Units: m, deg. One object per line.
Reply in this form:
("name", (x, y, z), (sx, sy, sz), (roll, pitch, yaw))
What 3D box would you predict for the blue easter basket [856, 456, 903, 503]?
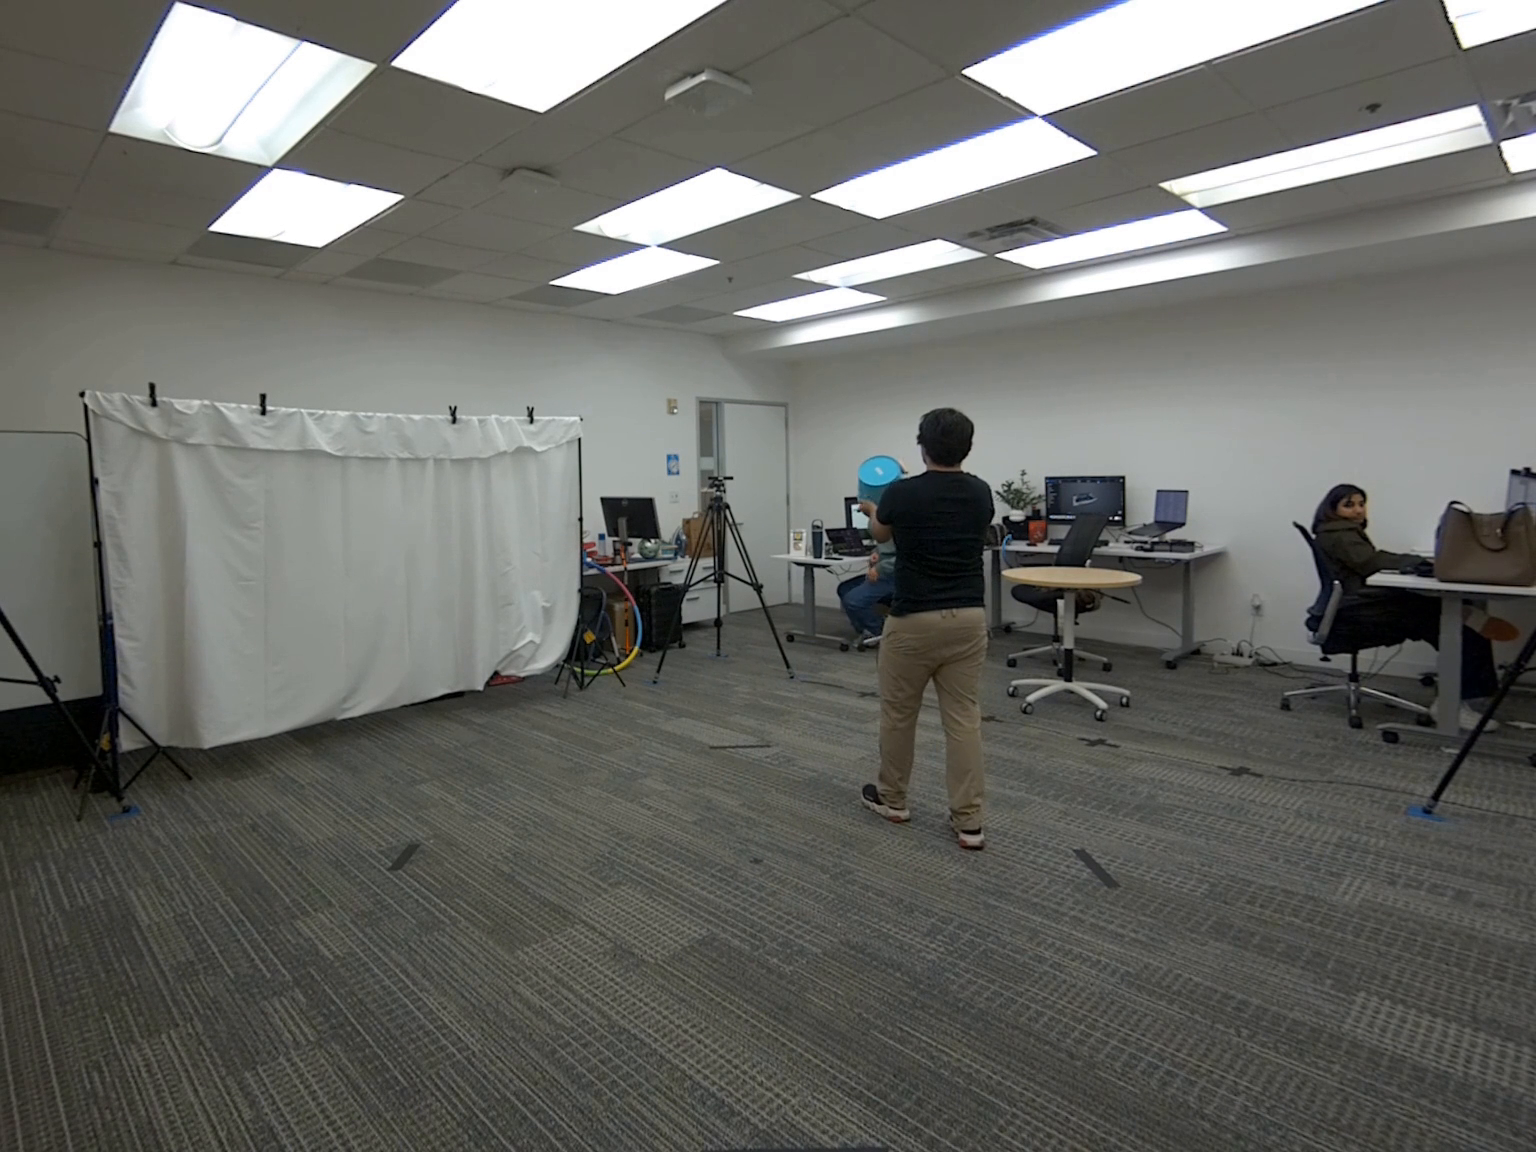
("blue easter basket", (0.515, -0.420, 3.806), (0.248, 0.248, 0.150), (0, -39, 19))
